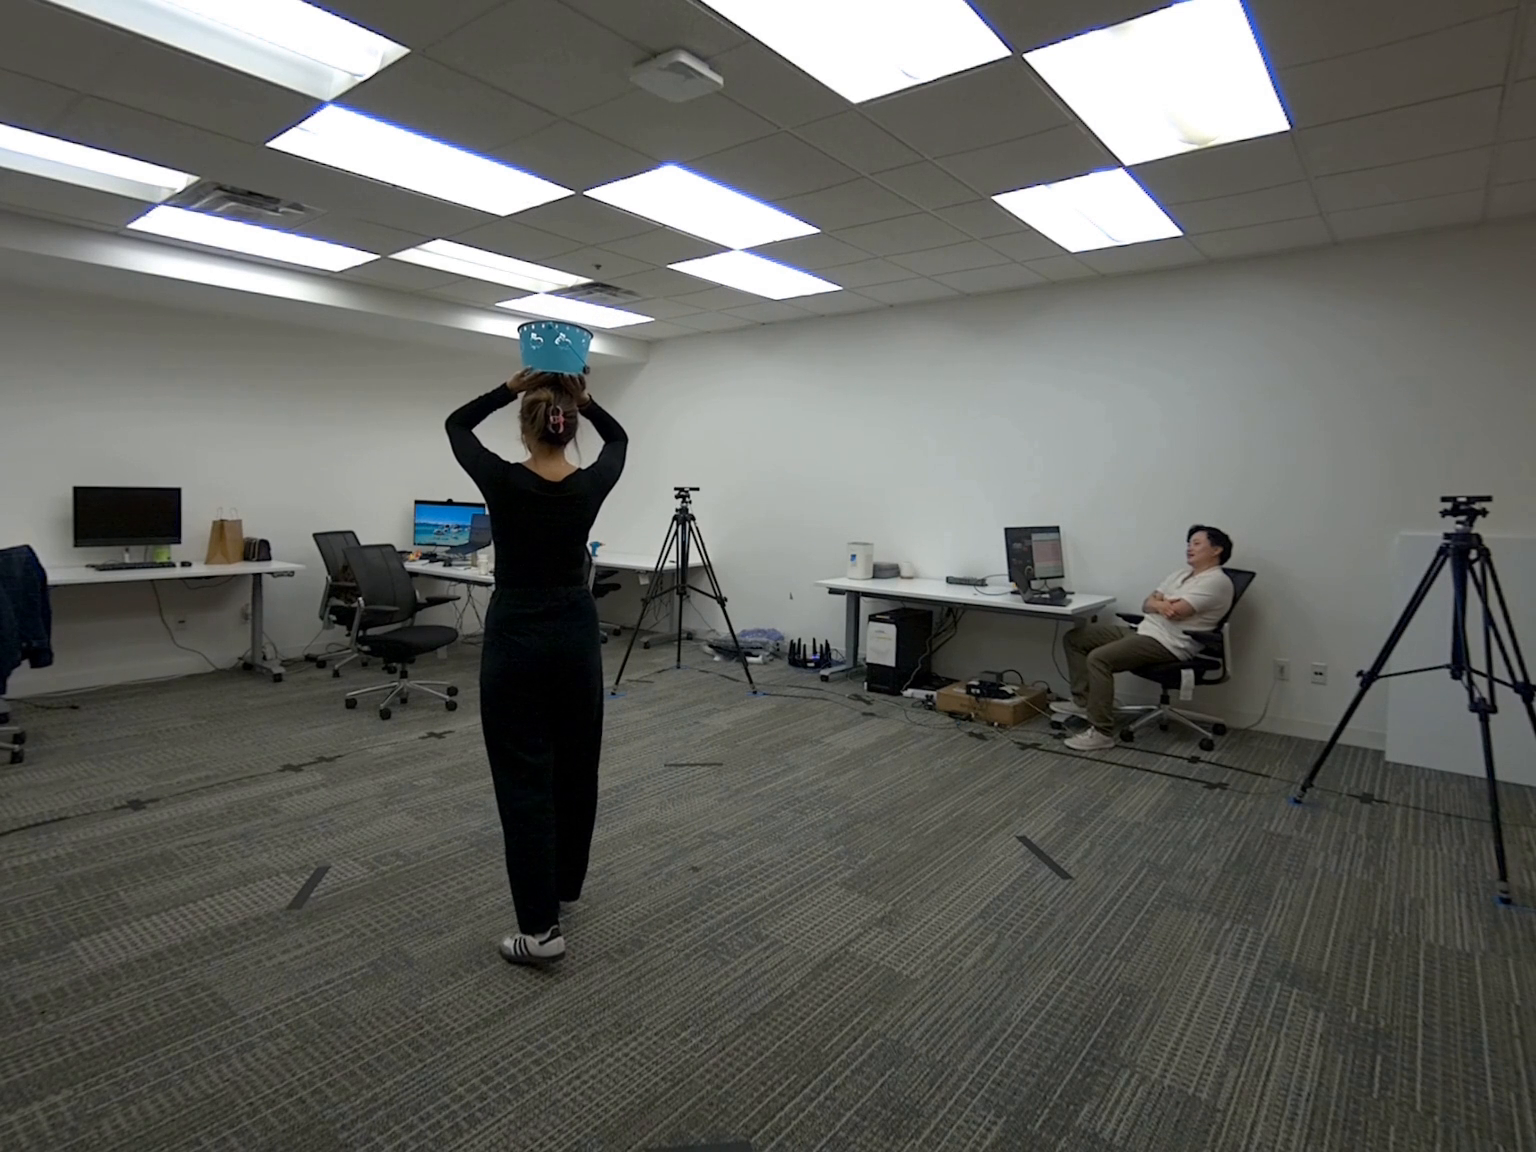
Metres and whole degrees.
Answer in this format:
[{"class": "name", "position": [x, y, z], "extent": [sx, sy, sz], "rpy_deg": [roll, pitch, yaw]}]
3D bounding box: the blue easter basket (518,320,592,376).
[{"class": "blue easter basket", "position": [-0.671, -0.686, 2.635], "extent": [0.243, 0.156, 0.243], "rpy_deg": [1, -2, -2]}]
